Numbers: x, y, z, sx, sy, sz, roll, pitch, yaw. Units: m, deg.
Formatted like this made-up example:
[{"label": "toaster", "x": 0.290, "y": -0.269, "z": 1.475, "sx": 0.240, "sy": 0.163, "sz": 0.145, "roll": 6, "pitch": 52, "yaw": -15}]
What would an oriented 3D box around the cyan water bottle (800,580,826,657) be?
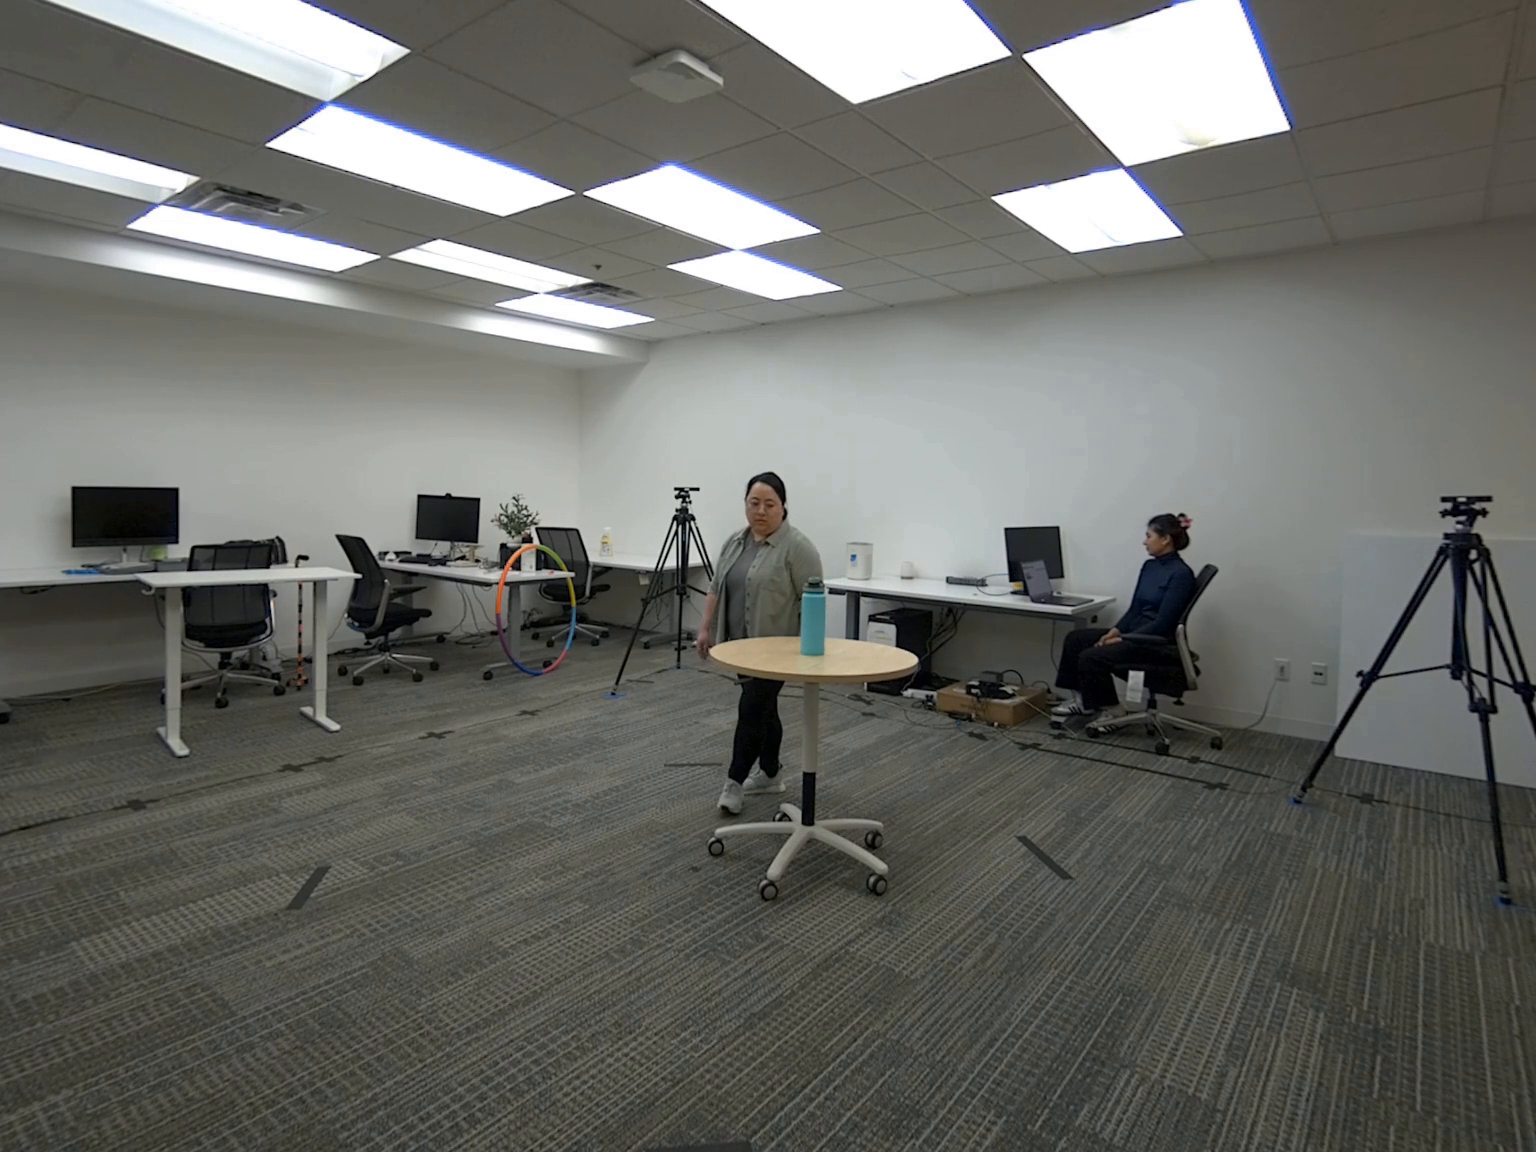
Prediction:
[{"label": "cyan water bottle", "x": 0.158, "y": 0.145, "z": 3.160, "sx": 0.092, "sy": 0.283, "sz": 0.092, "roll": -1, "pitch": 1, "yaw": -2}]
